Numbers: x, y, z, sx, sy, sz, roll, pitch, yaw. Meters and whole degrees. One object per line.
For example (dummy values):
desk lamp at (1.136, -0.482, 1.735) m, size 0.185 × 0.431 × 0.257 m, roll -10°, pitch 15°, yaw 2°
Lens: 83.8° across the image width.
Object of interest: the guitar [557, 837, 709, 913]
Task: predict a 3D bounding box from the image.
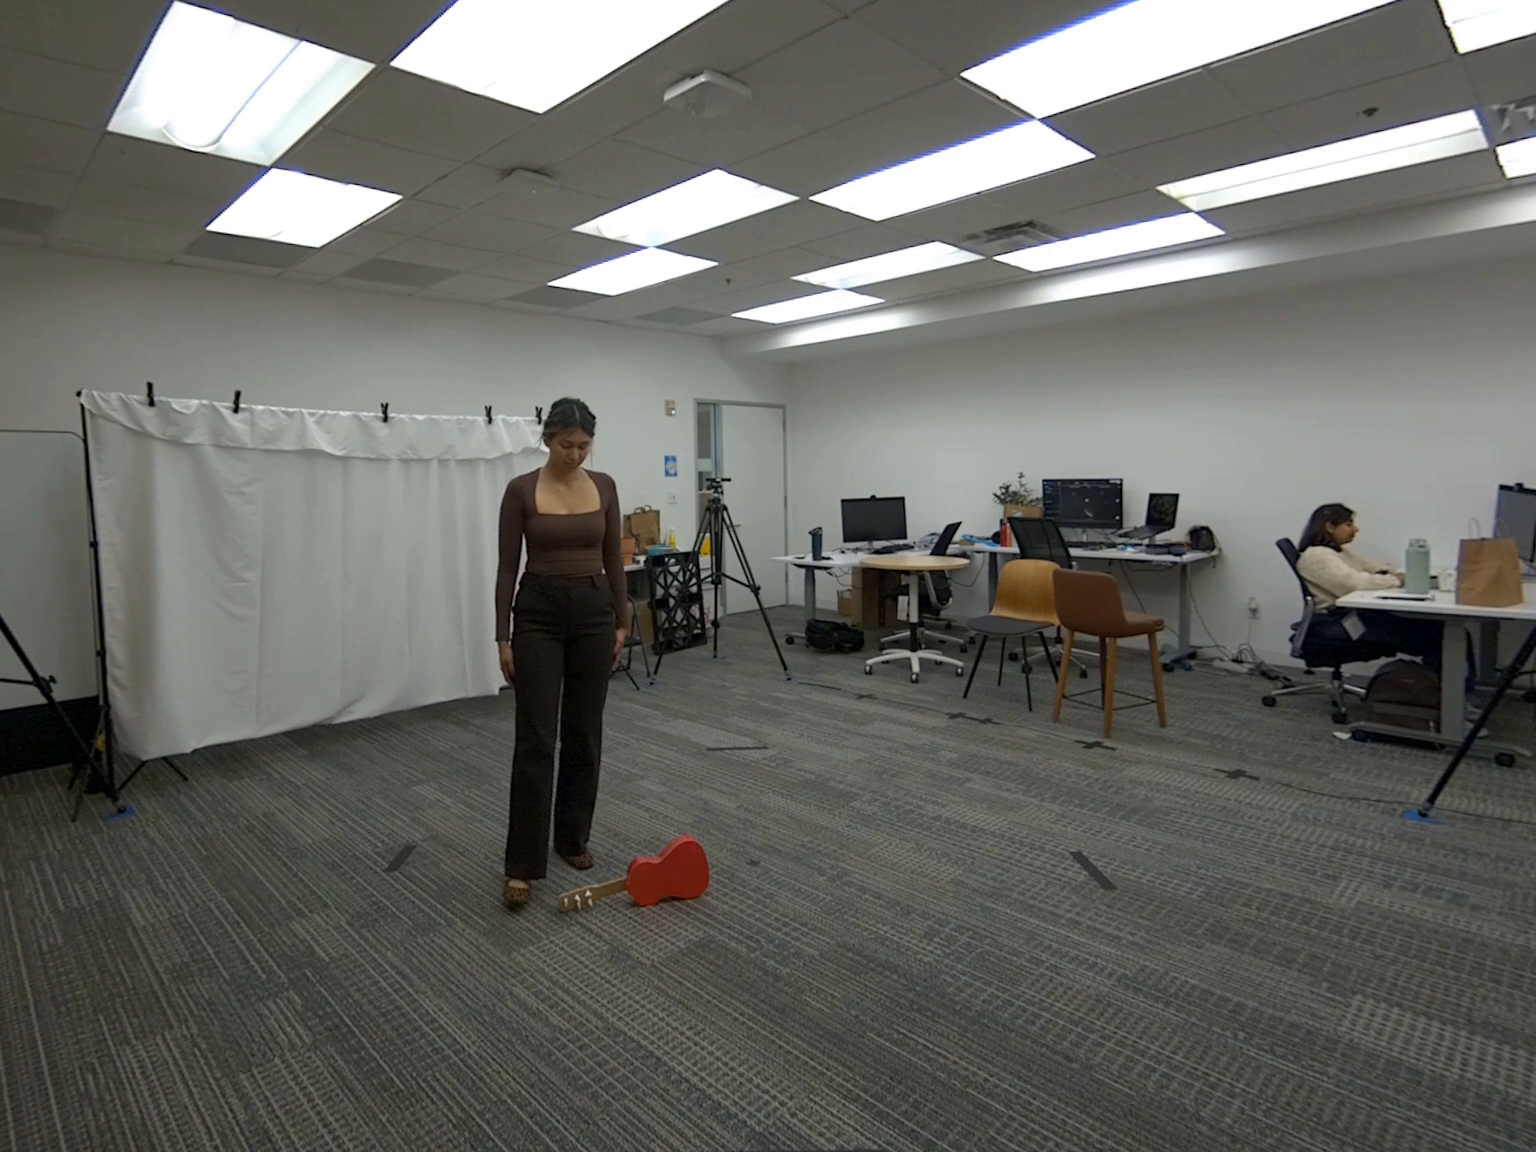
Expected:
guitar at (-0.429, 1.036, 2.822) m, size 0.494 × 0.191 × 0.072 m, roll -22°, pitch 7°, yaw -15°
